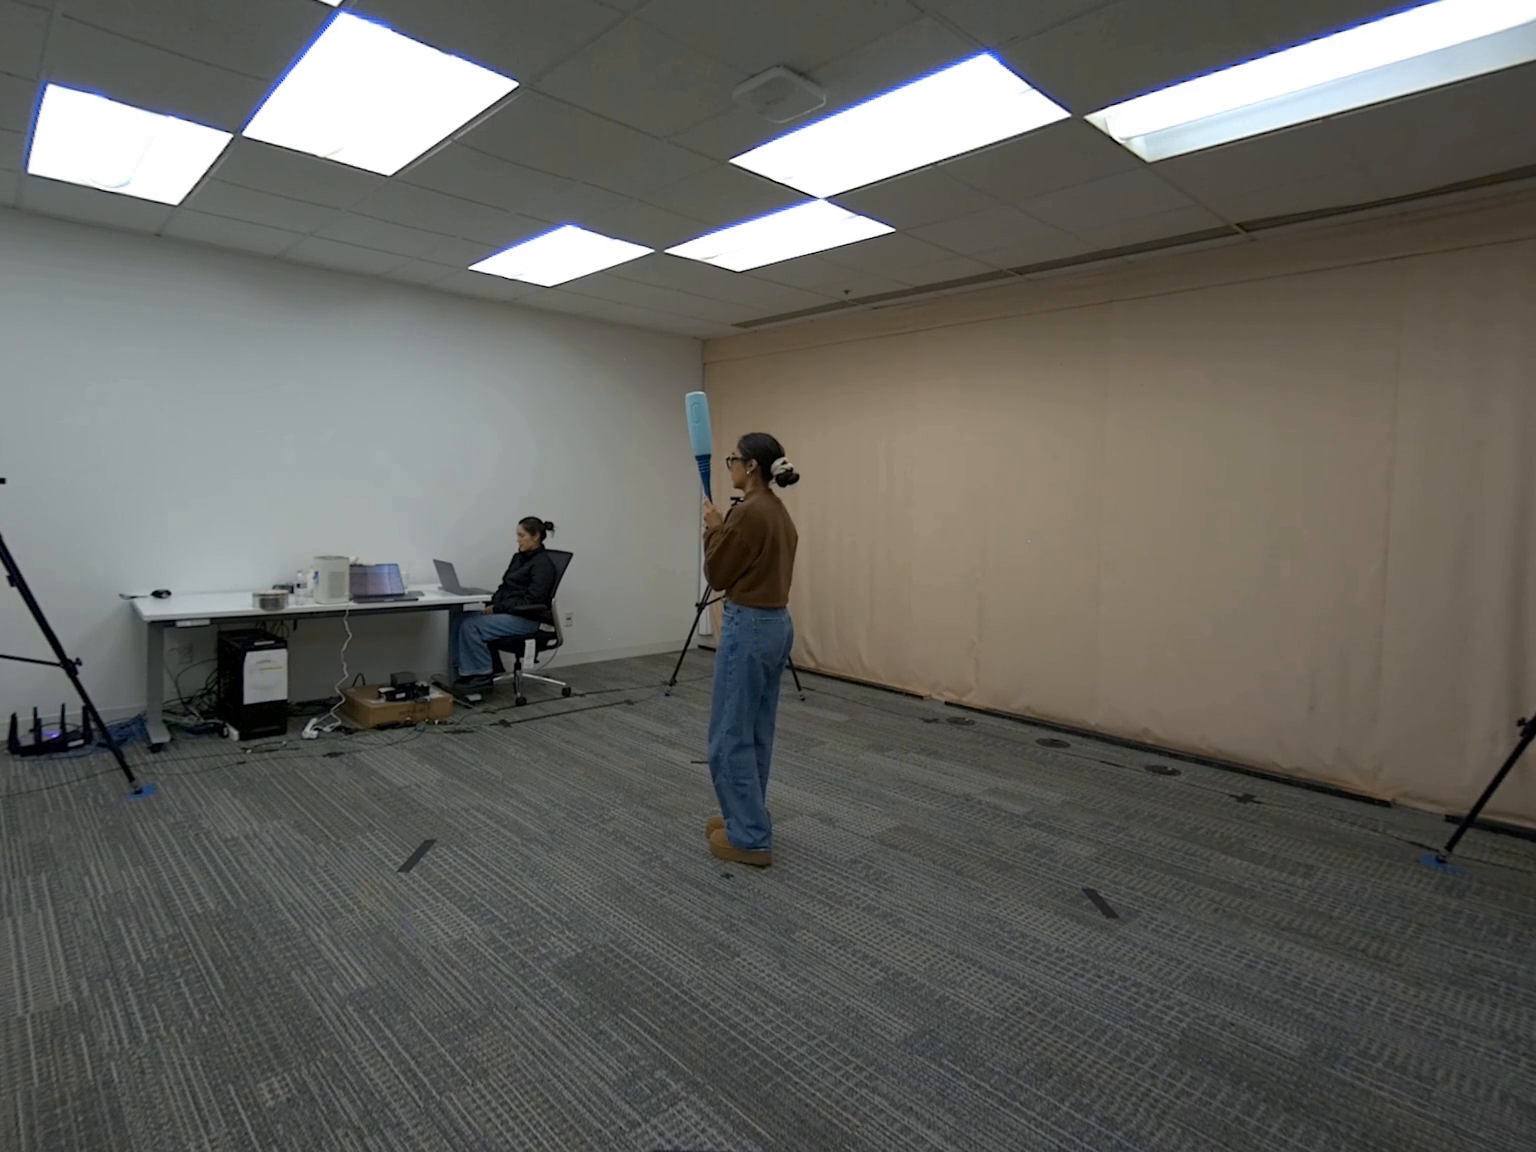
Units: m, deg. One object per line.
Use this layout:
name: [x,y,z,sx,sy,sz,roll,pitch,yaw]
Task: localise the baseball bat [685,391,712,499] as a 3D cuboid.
baseball bat: [-0.254,-0.464,3.363,0.089,0.542,0.089,-8,2,-1]
